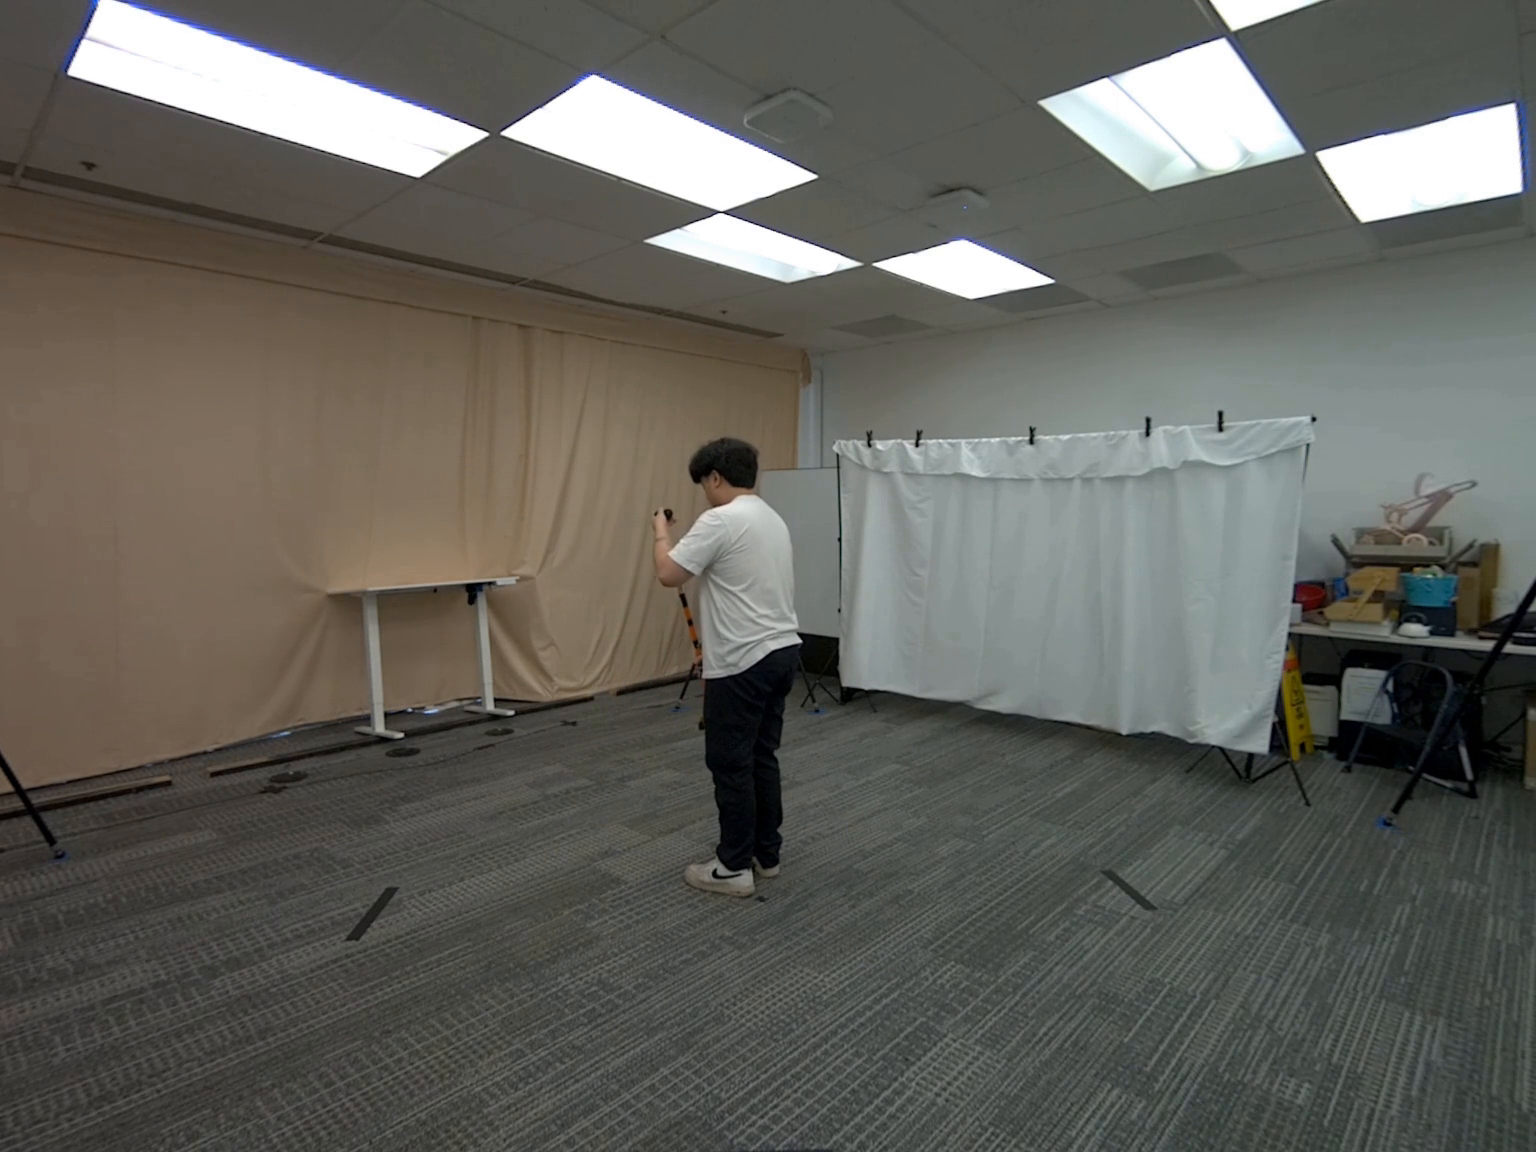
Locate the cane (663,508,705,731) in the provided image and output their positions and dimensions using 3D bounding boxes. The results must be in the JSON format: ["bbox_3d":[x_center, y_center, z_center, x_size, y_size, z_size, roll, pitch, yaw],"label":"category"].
[{"bbox_3d":[-0.311,0.186,3.364,0.148,0.903,0.212,-19,7,-34],"label":"cane"}]
